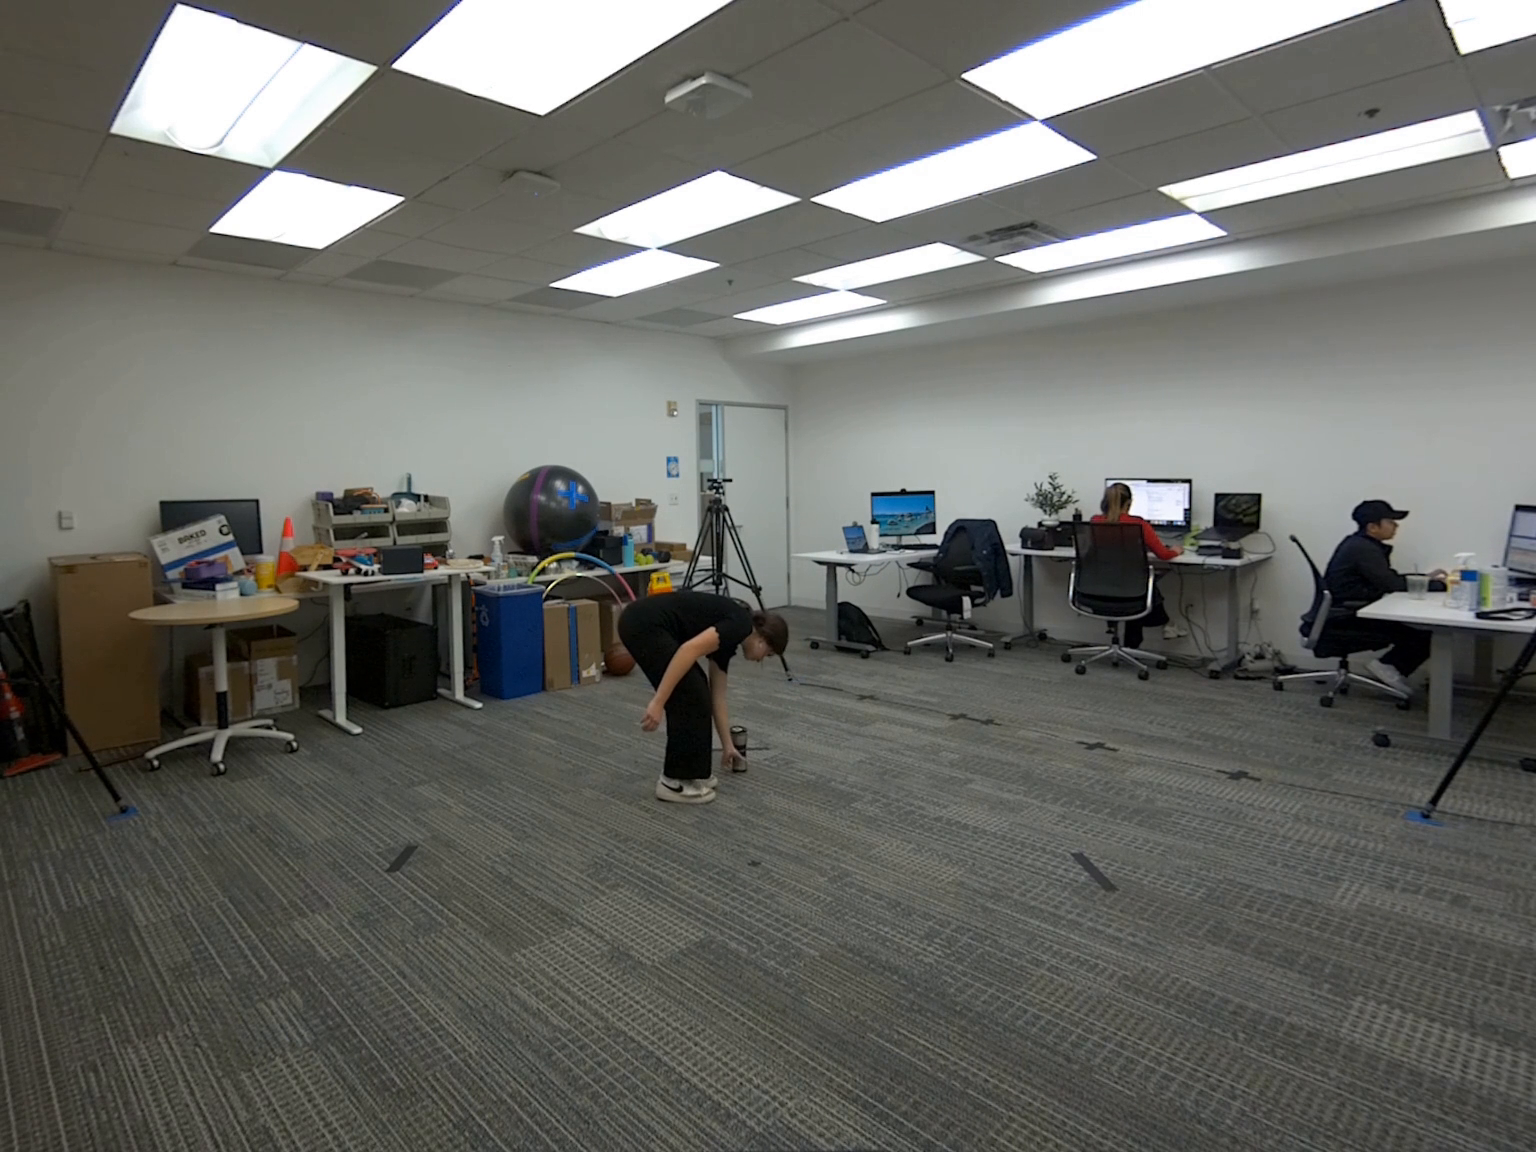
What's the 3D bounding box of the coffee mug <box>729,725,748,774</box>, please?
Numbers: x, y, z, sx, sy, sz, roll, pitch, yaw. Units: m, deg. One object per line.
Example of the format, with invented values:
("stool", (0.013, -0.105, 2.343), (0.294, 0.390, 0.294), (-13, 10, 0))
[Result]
("coffee mug", (-0.155, 0.835, 4.130), (0.085, 0.202, 0.126), (-6, 7, -42))
